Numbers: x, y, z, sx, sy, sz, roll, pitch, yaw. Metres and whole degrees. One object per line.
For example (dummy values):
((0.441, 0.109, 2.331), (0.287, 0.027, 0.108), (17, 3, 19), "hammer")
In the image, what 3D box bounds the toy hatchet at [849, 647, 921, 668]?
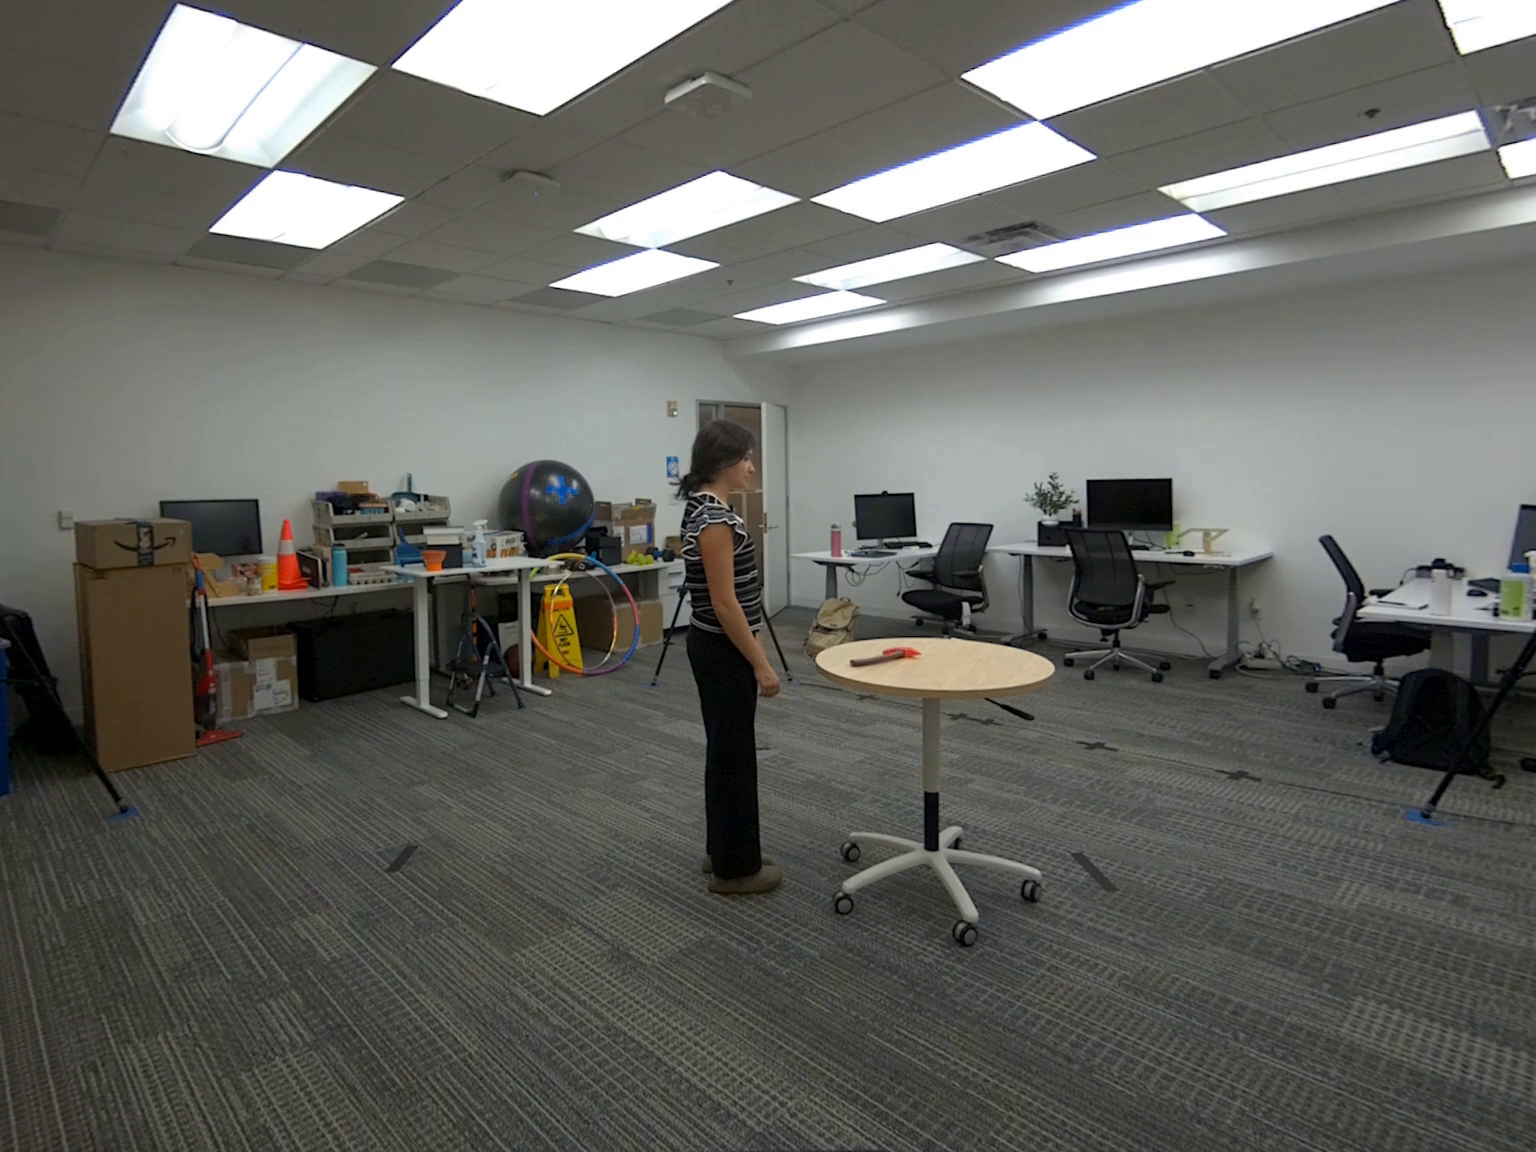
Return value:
((0.375, 0.269, 2.867), (0.265, 0.029, 0.134), (-5, 7, -24), "toy hatchet")
